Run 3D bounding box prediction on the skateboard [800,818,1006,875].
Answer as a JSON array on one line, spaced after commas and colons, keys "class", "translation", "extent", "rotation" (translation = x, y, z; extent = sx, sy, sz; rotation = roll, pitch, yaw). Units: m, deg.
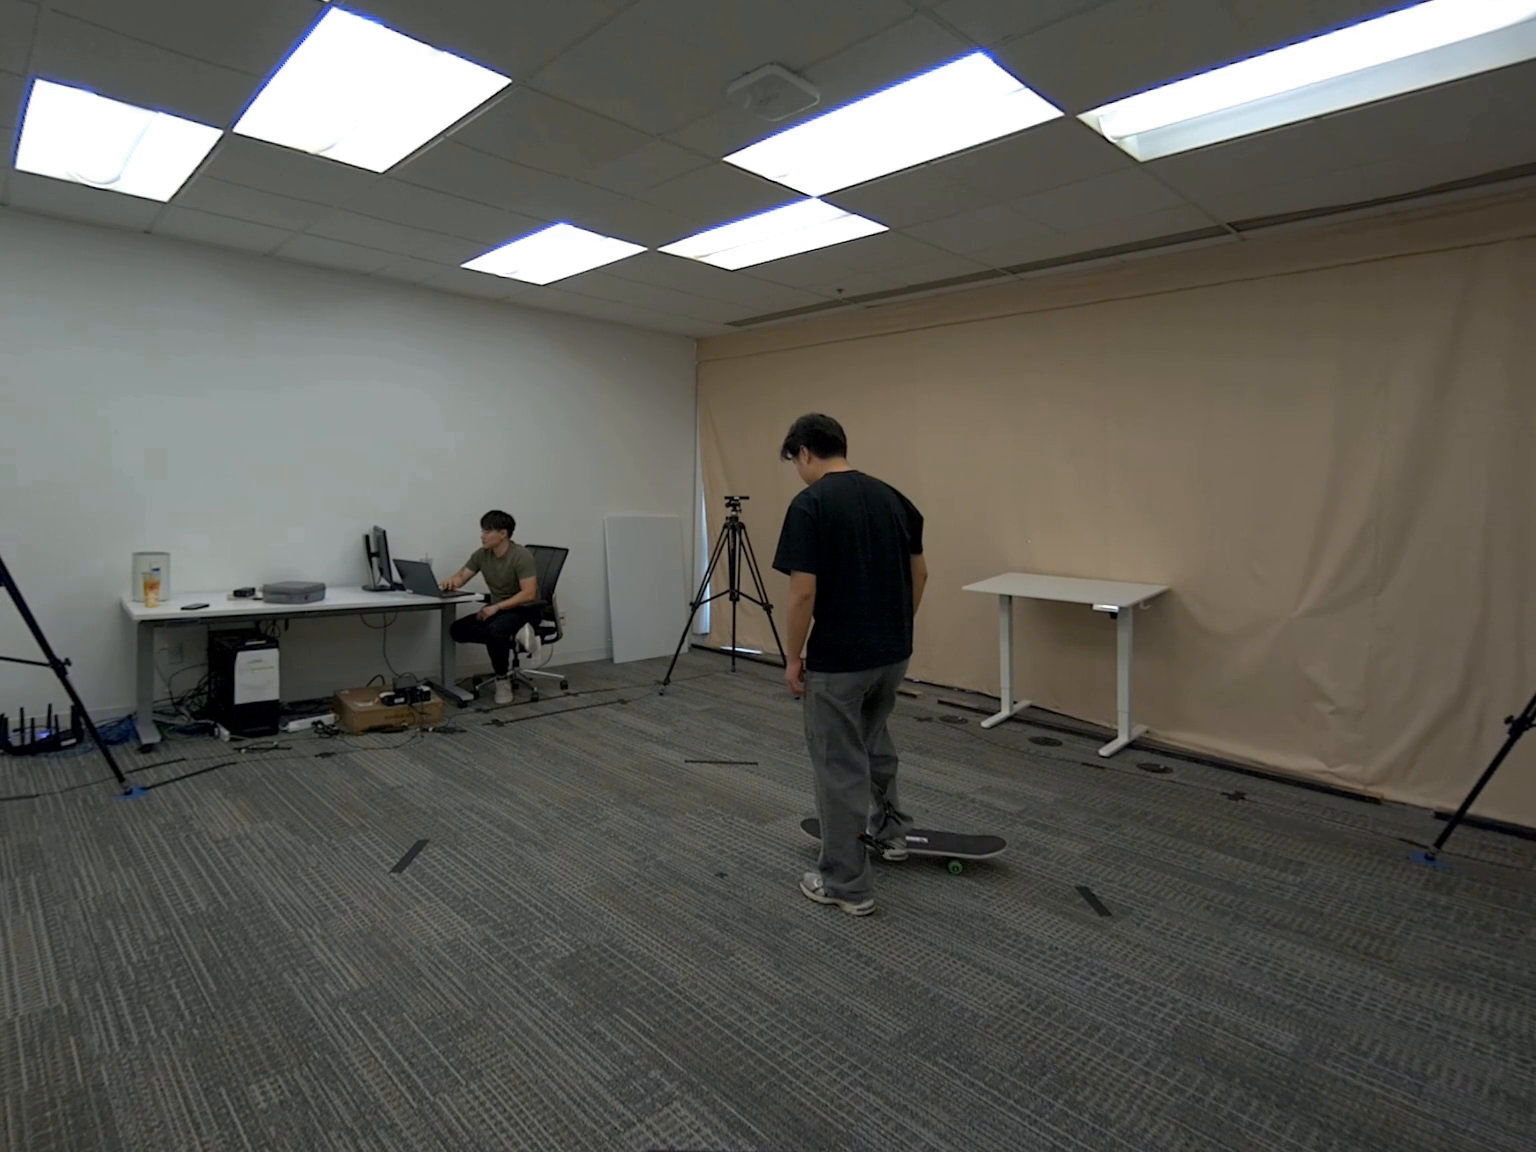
[{"class": "skateboard", "translation": [0.510, 1.044, 3.267], "extent": [0.792, 0.110, 0.192], "rotation": [2, 5, 10]}]
